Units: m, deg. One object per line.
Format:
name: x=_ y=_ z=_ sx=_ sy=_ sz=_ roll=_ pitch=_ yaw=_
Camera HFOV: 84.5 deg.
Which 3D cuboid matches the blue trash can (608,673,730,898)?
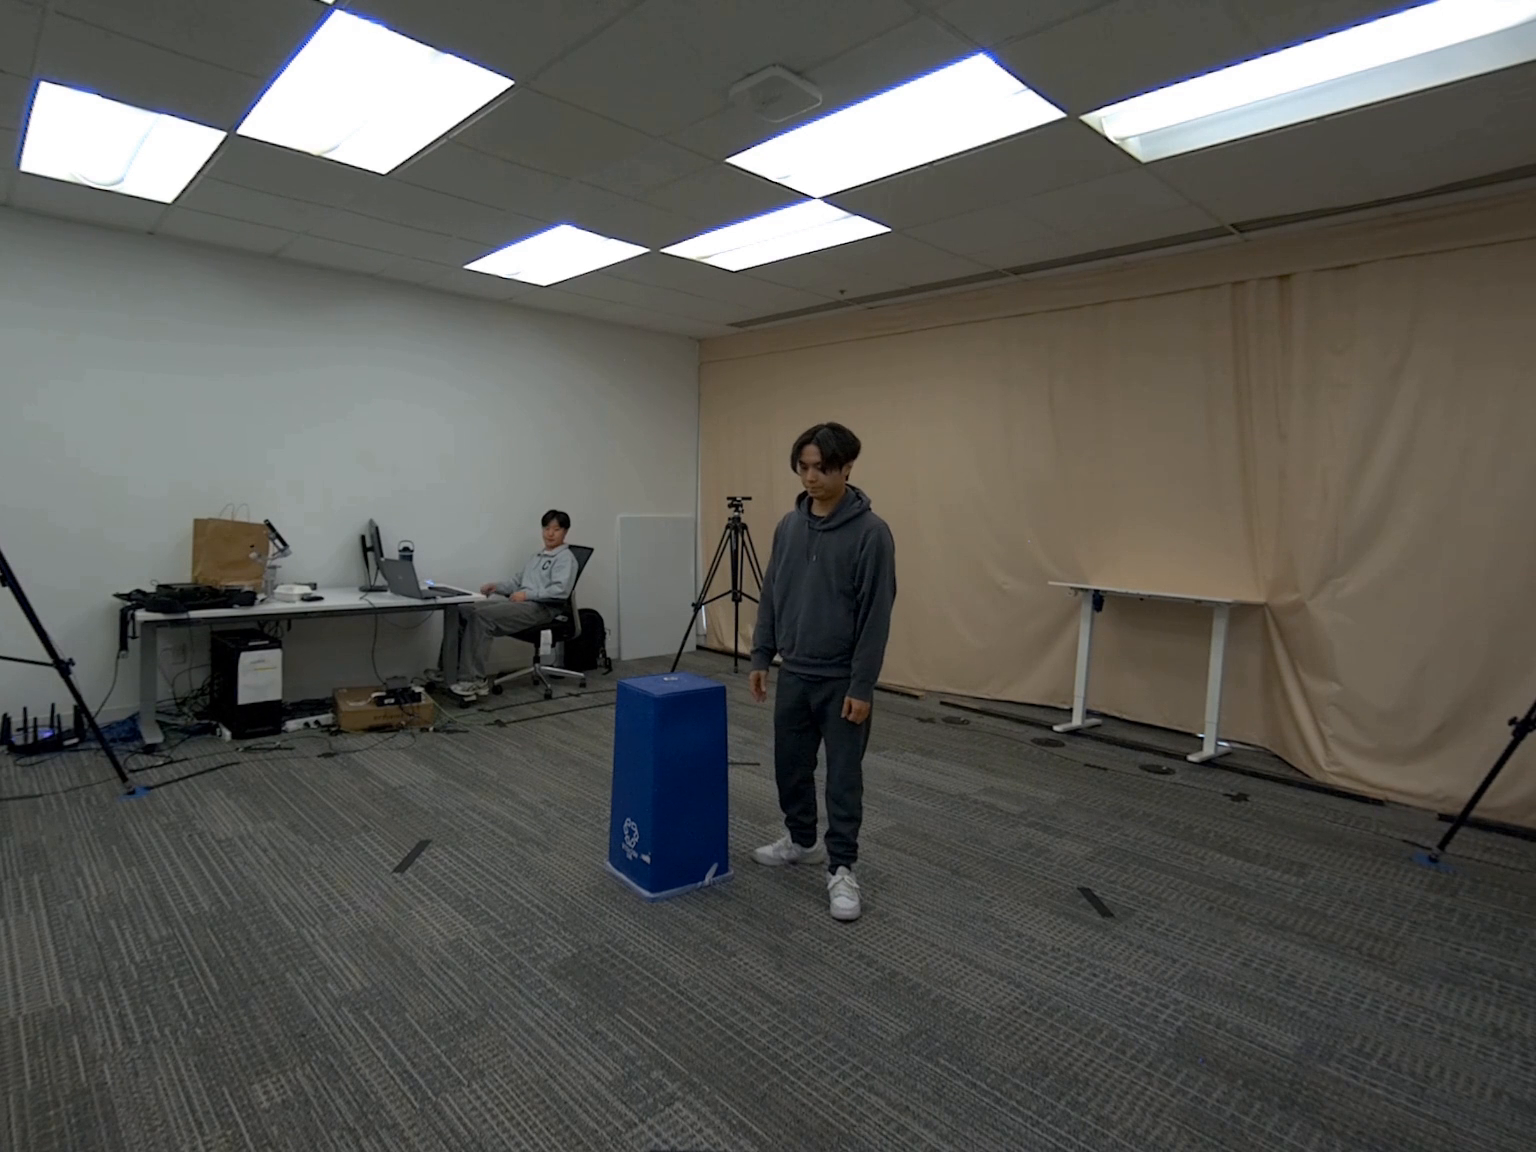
blue trash can: x=-0.367 y=0.744 z=3.120 sx=0.370 sy=0.712 sz=0.383 roll=-2 pitch=4 yaw=-37
